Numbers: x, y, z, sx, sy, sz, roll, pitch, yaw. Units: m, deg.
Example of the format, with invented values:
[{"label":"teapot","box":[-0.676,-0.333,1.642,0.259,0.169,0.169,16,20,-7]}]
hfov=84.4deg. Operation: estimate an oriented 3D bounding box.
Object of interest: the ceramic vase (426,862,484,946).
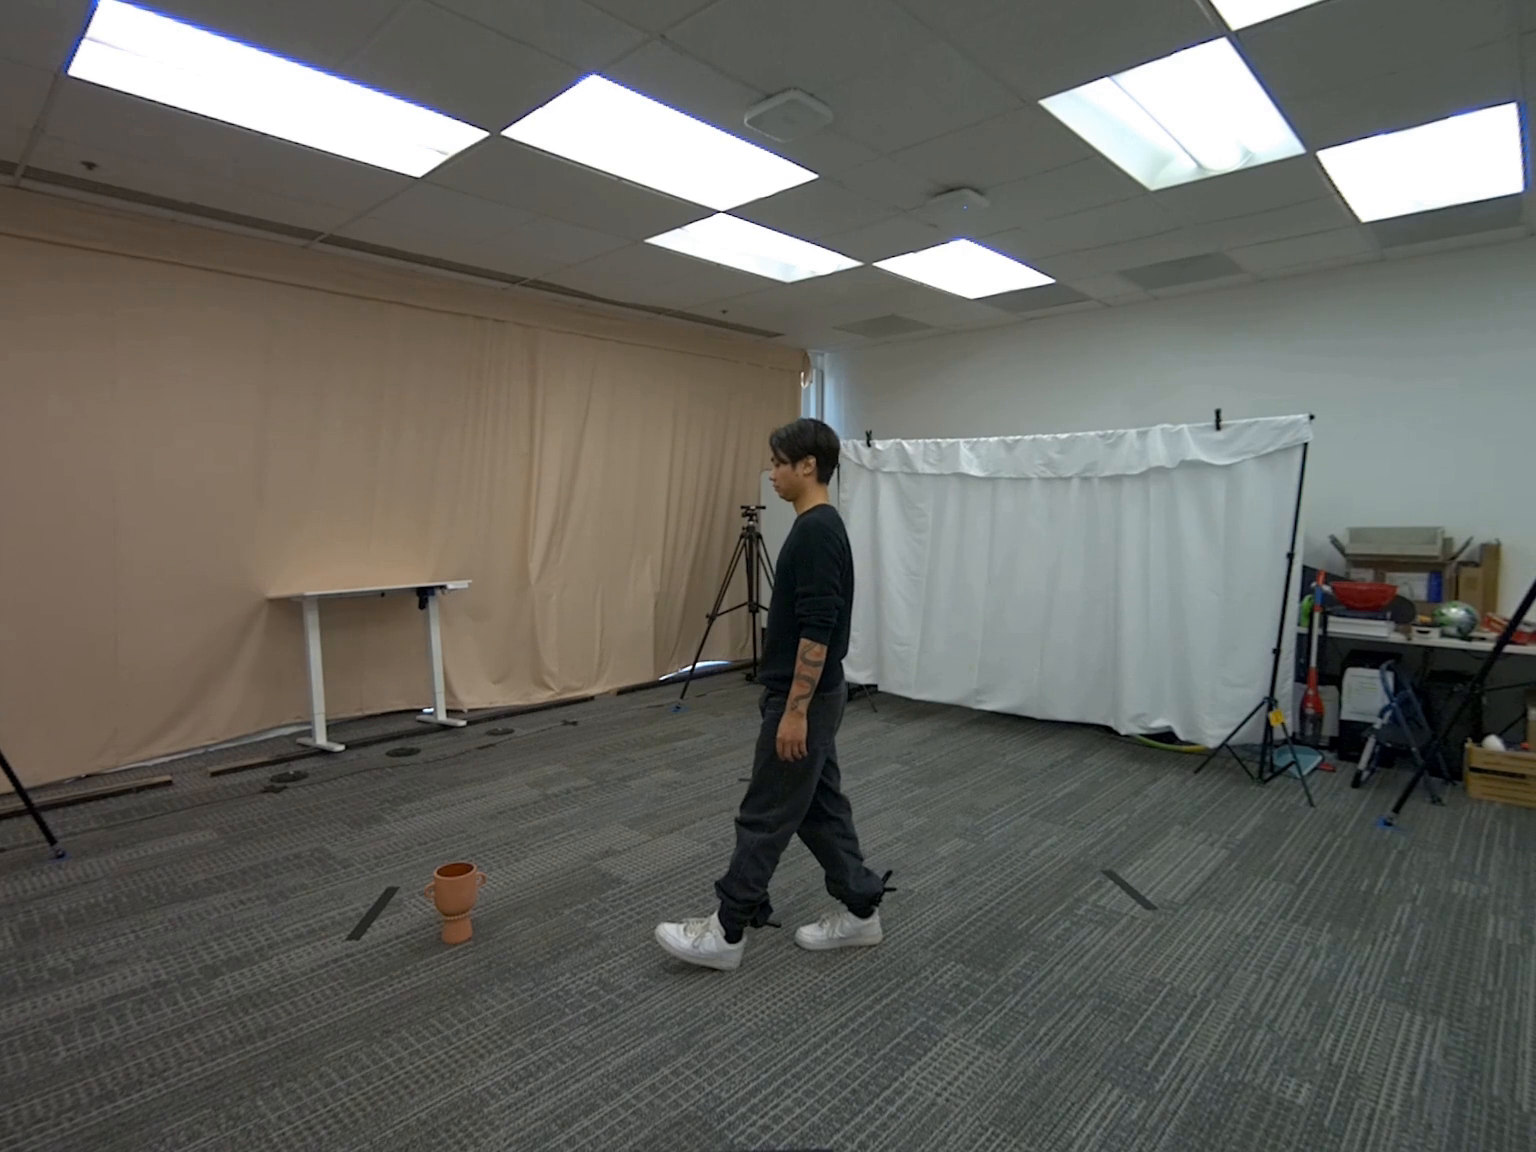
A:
[{"label":"ceramic vase","box":[-1.016,1.061,2.728,0.160,0.219,0.134,-1,2,6]}]
